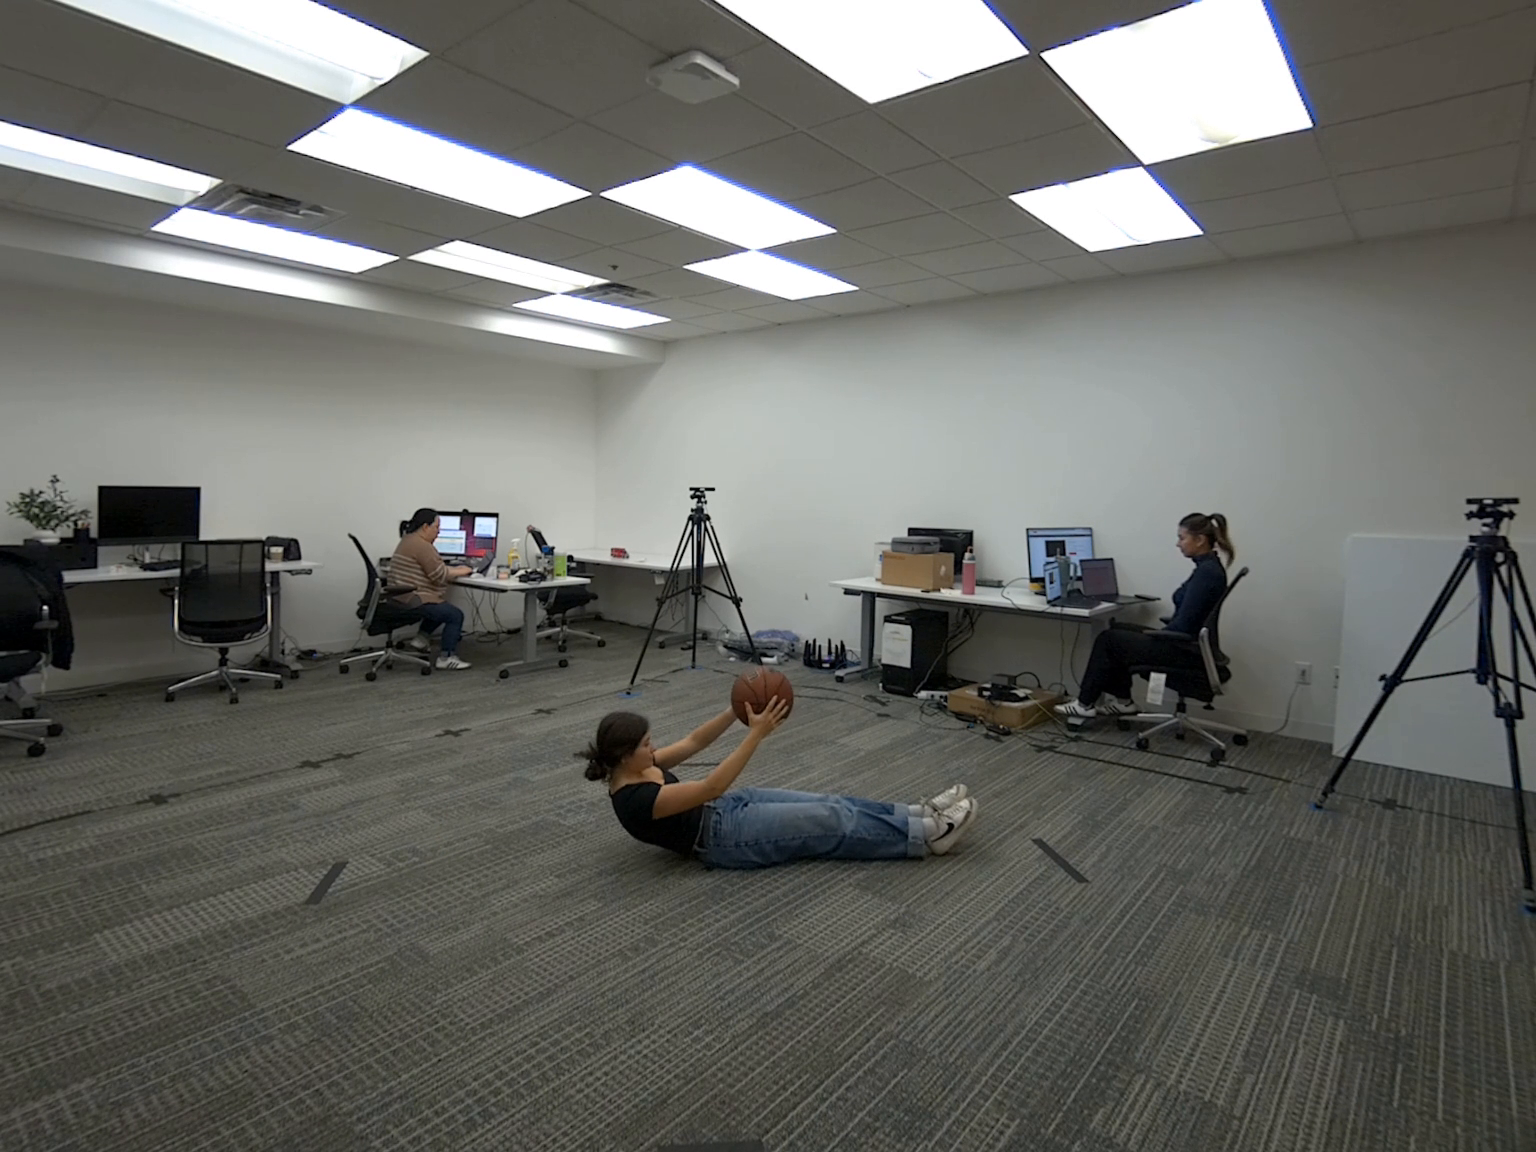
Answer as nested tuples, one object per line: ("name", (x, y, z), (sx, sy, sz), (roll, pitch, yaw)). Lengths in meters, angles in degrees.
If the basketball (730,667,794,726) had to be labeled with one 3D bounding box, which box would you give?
("basketball", (-0.038, 0.442, 3.206), (0.235, 0.235, 0.237), (1, 4, -2))
